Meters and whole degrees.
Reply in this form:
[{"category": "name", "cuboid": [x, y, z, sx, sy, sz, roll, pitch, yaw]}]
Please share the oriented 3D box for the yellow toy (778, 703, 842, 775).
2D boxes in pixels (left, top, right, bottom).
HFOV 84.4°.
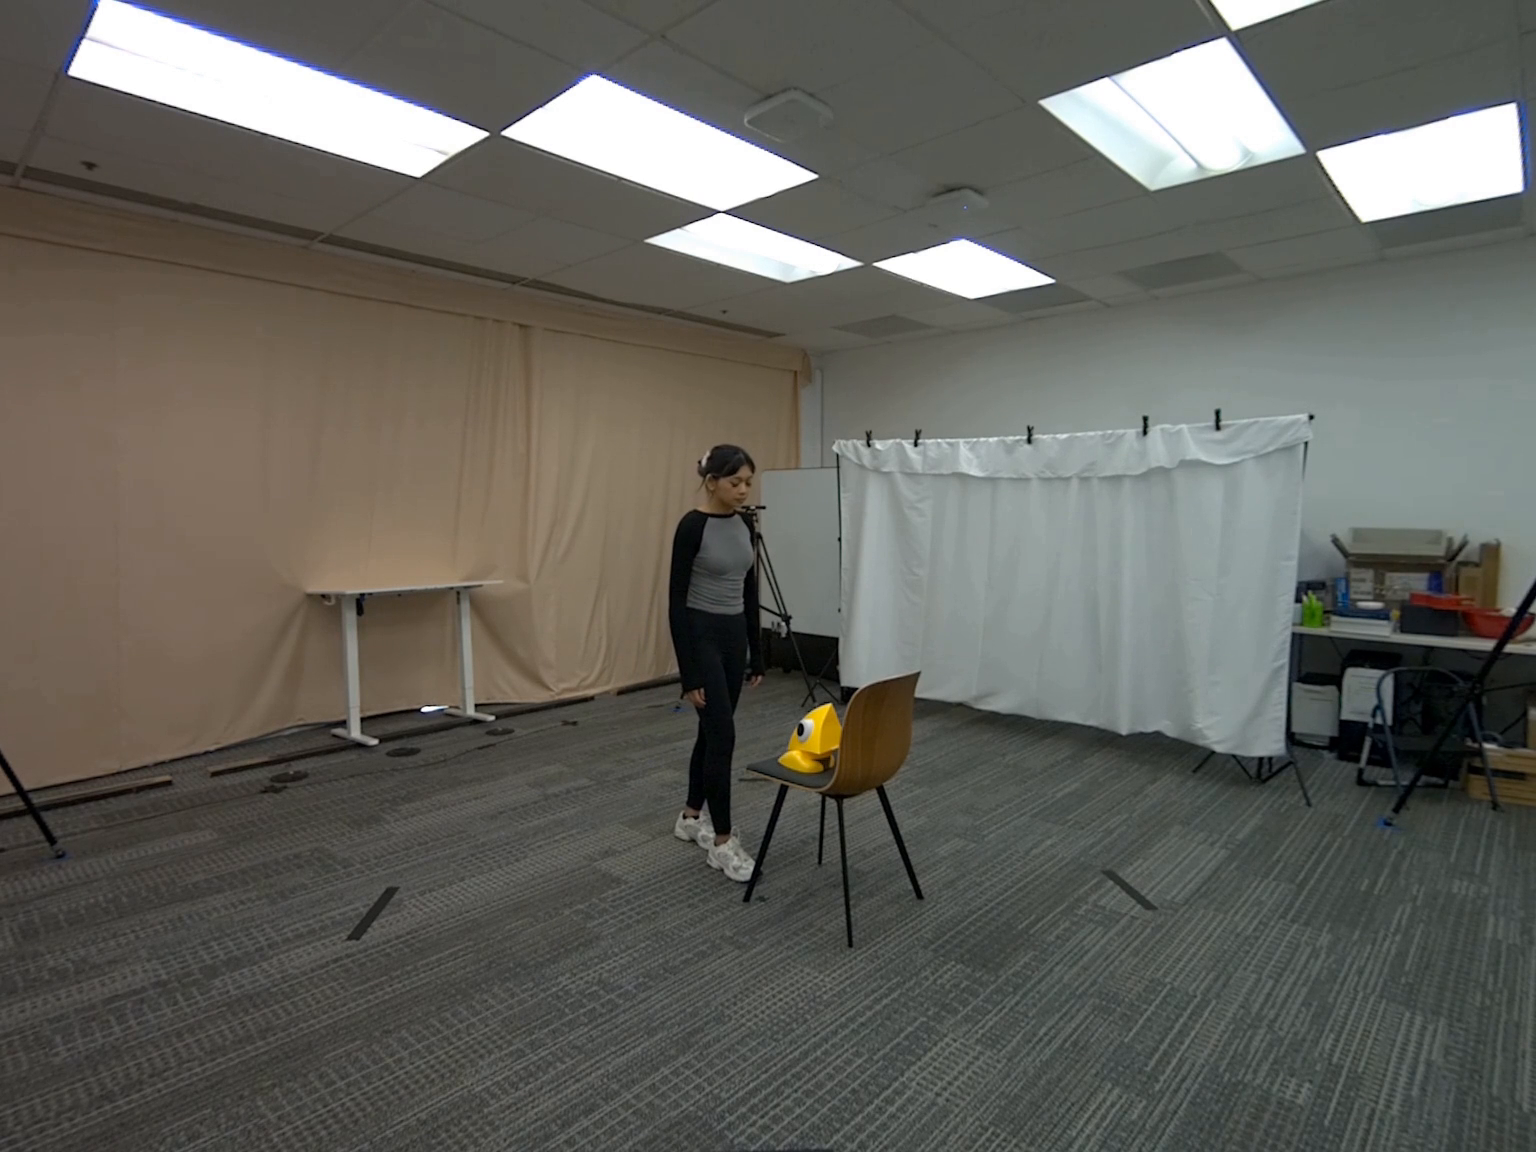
[{"category": "yellow toy", "cuboid": [0.163, 0.549, 2.955, 0.199, 0.230, 0.199, 8, 6, 35]}]
